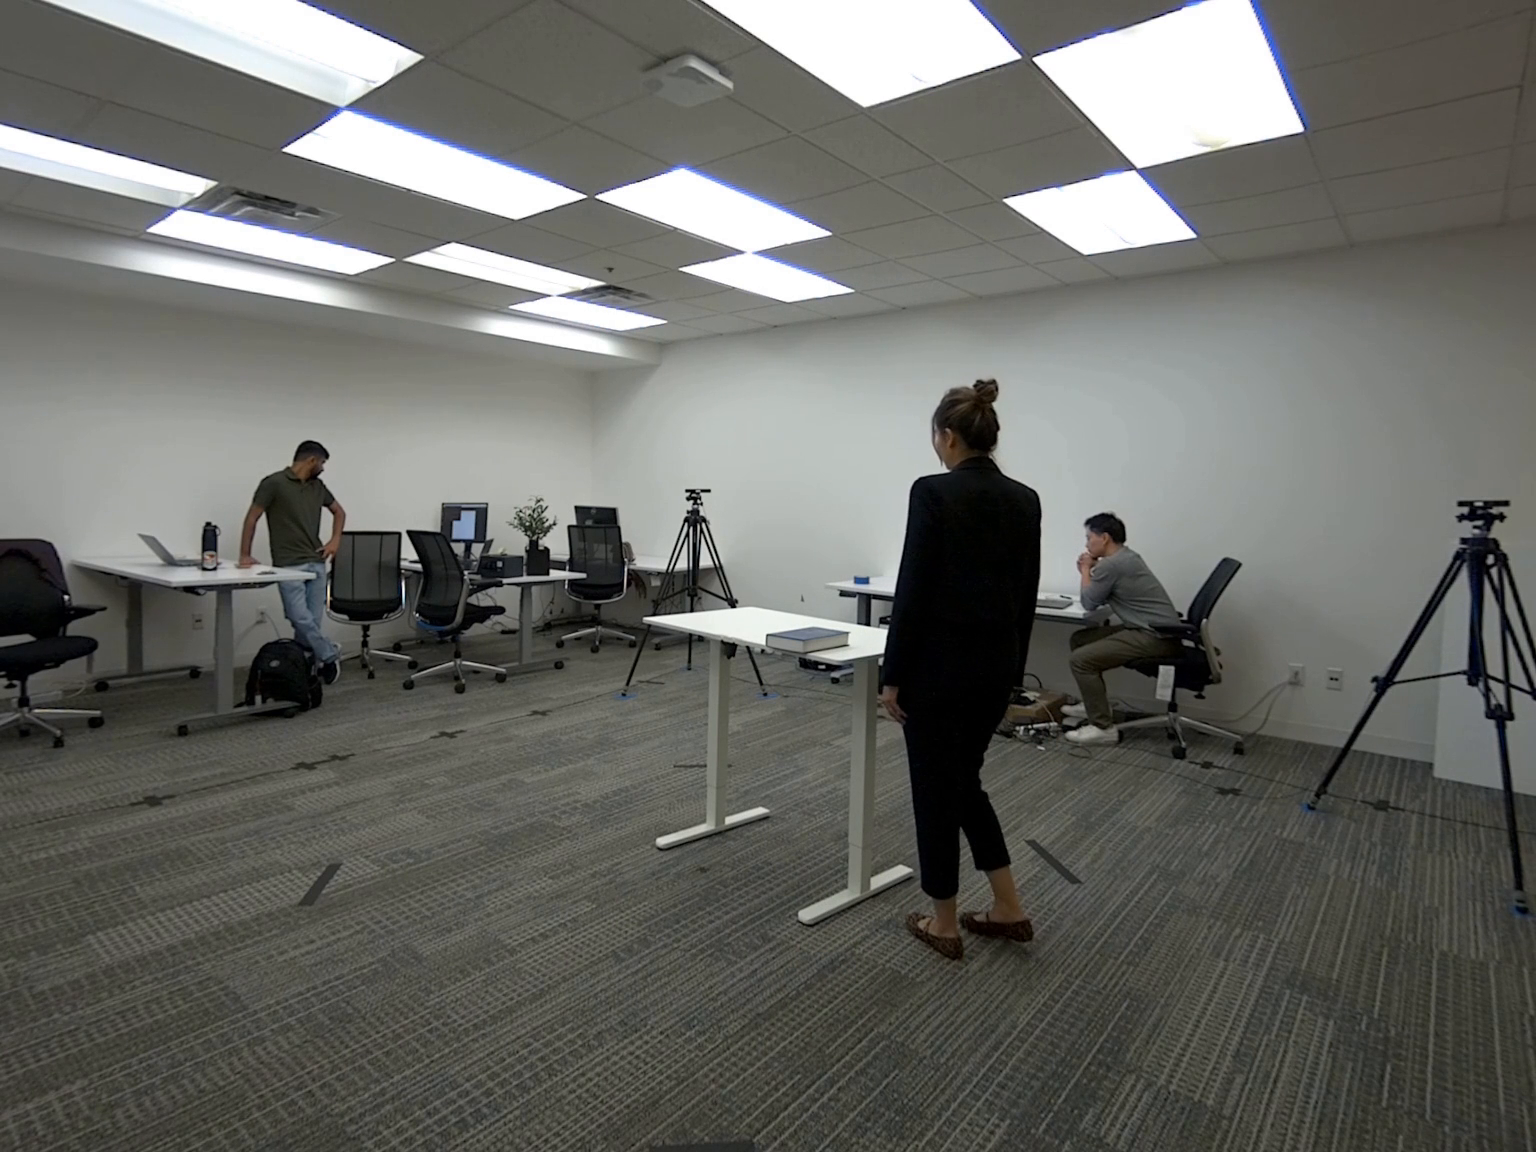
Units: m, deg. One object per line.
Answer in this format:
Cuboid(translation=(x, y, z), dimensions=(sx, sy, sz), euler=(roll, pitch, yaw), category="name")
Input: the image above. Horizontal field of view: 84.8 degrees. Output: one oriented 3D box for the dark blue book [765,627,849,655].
Cuboid(translation=(0.126, 0.208, 2.808), dimensions=(0.169, 0.045, 0.238), euler=(6, 7, 43), category="dark blue book")
